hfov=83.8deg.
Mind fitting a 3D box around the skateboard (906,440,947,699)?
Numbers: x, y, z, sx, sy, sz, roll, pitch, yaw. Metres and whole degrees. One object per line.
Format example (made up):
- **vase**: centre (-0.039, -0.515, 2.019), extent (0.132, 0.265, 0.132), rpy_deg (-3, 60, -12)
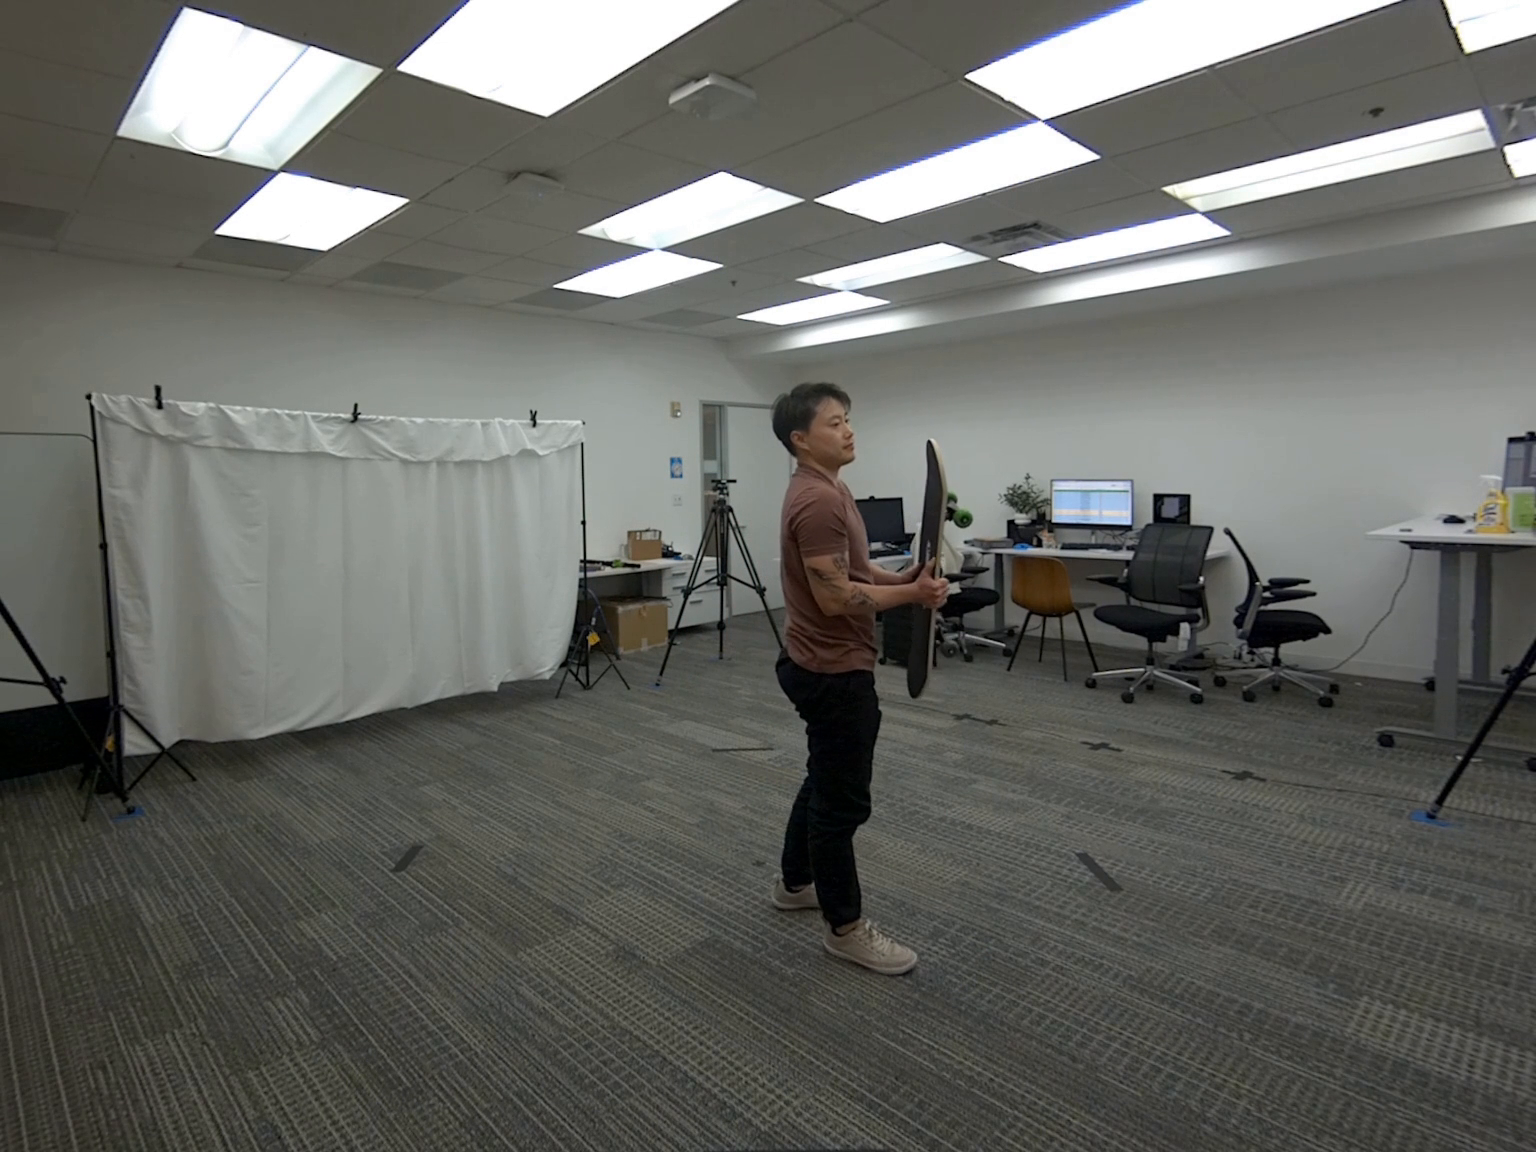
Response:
- **skateboard**: centre (0.484, -0.002, 2.432), extent (0.110, 0.771, 0.197), rpy_deg (-1, 22, -4)
